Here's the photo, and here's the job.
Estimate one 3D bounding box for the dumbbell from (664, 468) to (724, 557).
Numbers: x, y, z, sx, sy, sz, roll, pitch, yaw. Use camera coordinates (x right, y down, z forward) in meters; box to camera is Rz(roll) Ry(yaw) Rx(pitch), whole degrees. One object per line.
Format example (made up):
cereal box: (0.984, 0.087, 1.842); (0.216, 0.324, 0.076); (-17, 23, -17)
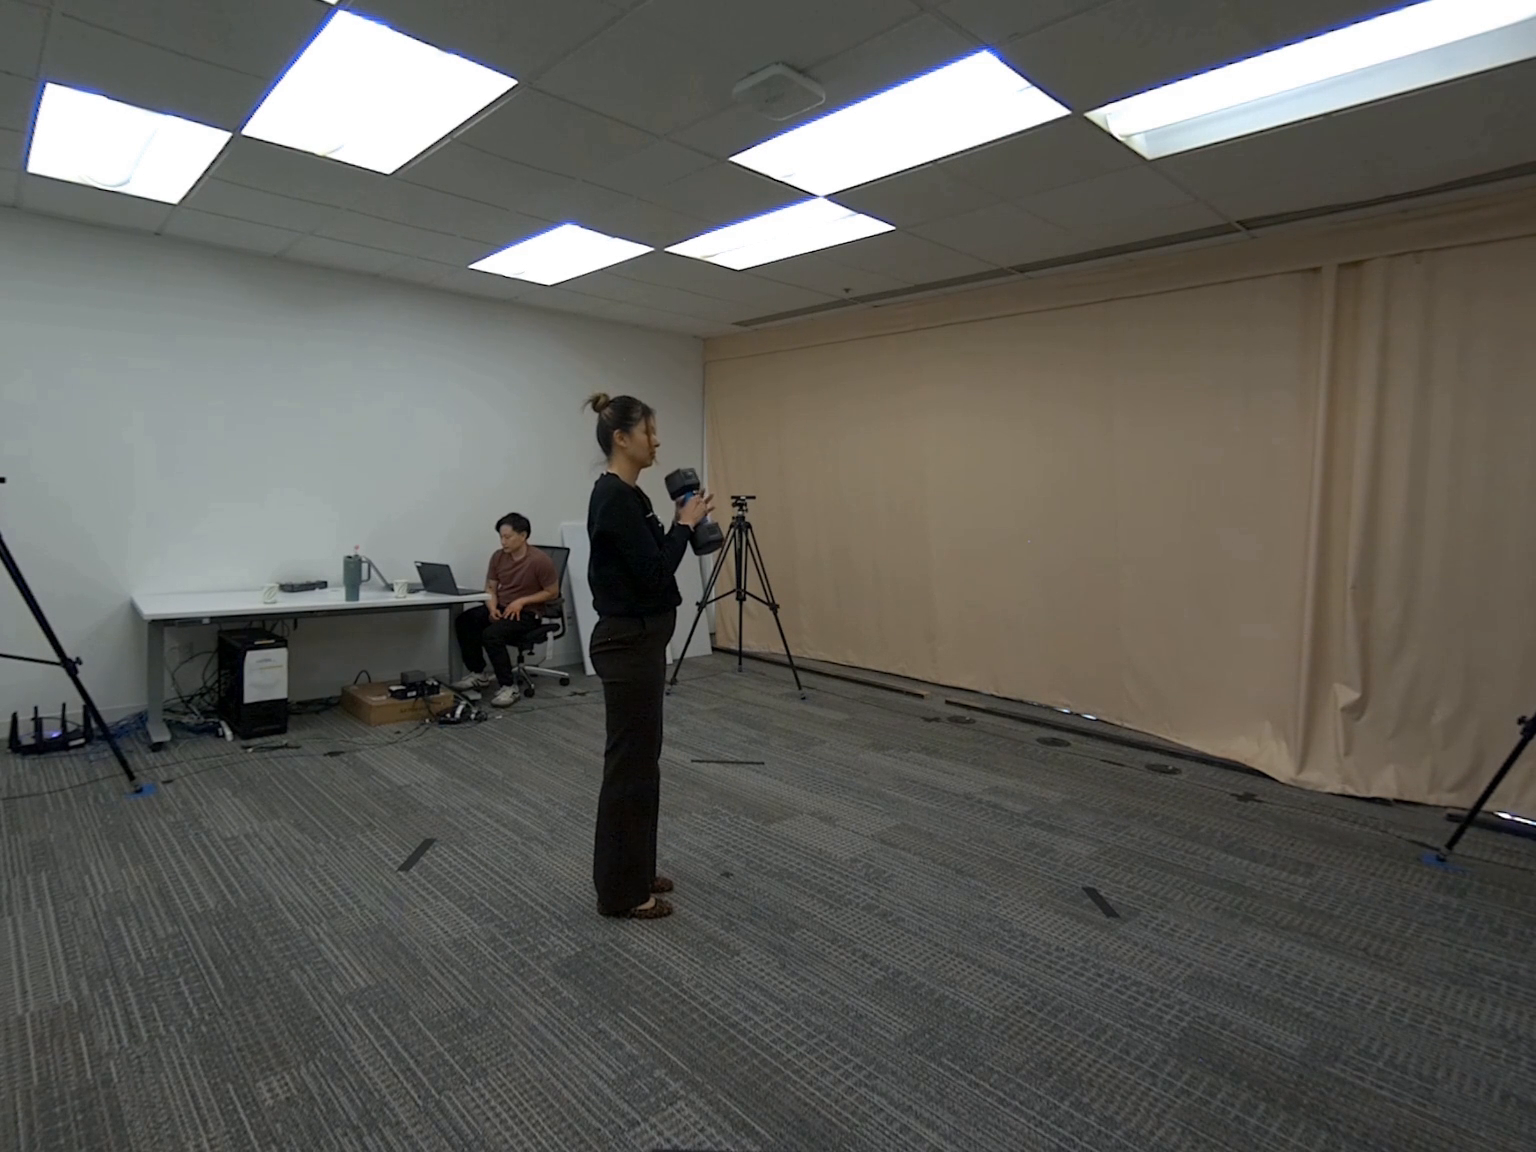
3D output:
dumbbell: (-0.260, -0.223, 2.813); (0.124, 0.298, 0.106); (-29, -18, 20)
